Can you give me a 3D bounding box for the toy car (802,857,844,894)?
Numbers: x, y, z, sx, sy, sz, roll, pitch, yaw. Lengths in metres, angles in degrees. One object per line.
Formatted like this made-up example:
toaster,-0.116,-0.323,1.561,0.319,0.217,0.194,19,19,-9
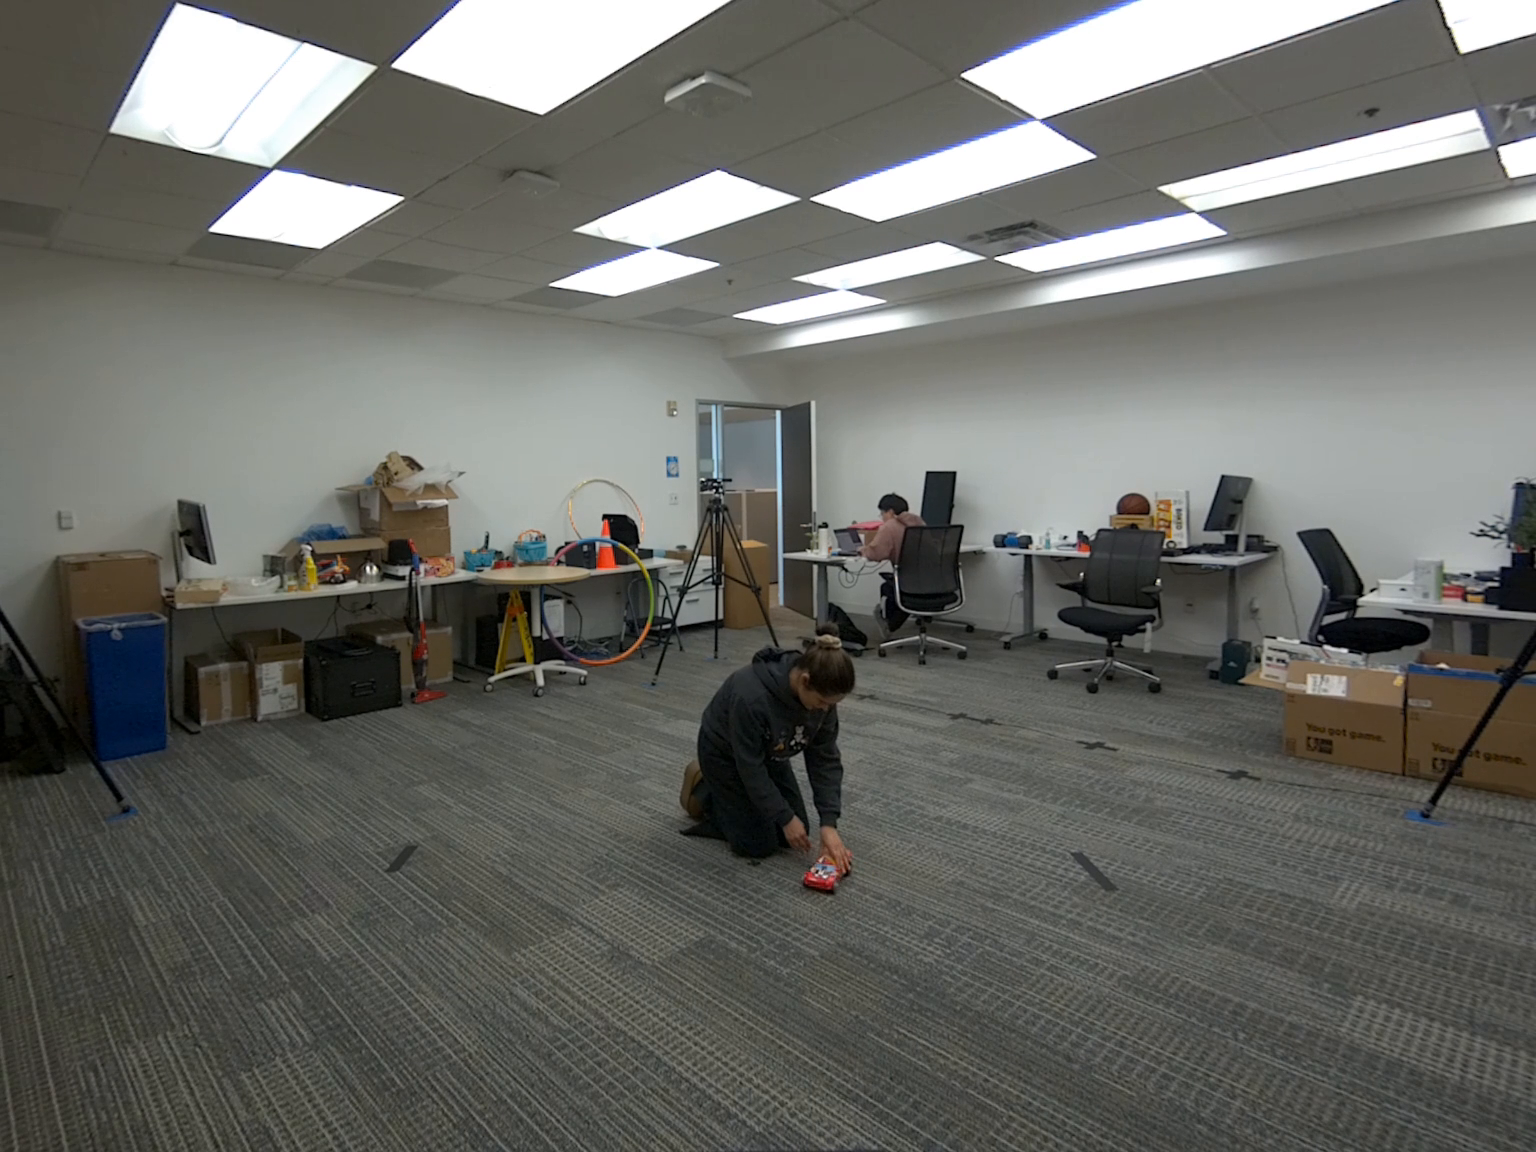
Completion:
toy car,0.222,1.022,2.967,0.133,0.082,0.252,1,16,24
